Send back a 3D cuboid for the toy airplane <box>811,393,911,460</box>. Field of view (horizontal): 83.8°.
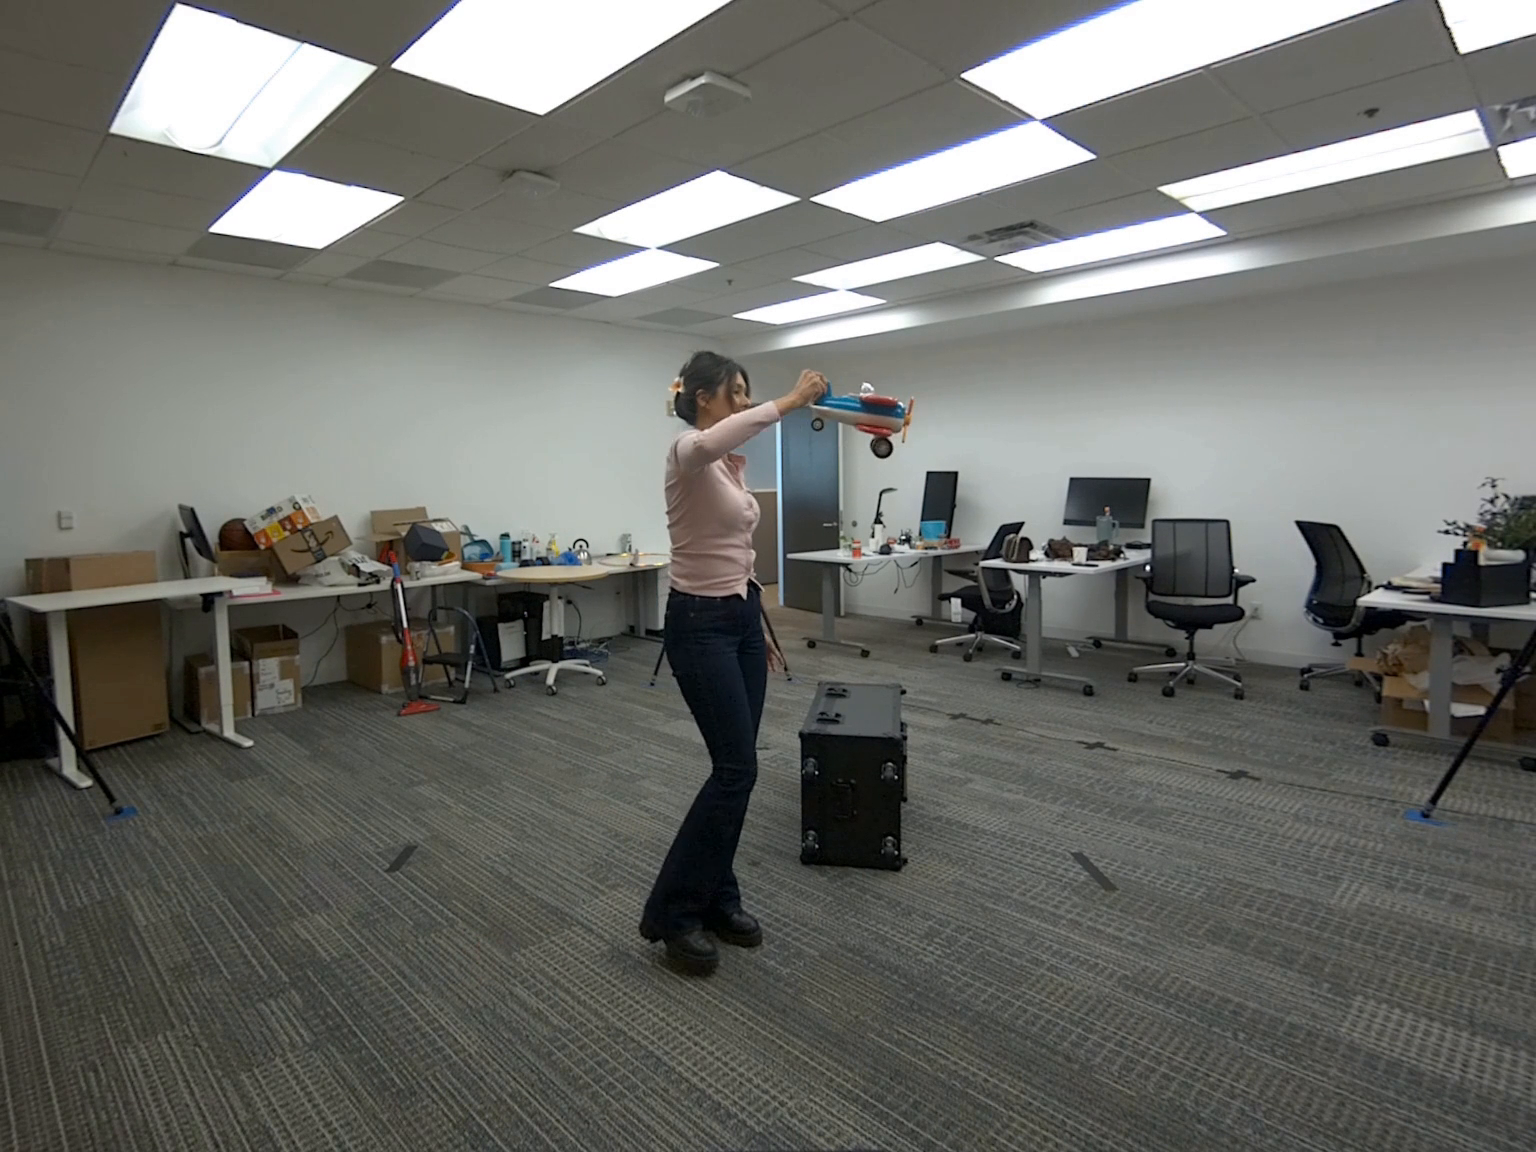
[{"bbox_3d":[0.237,-0.413,2.200,0.252,0.155,0.260,17,13,-29],"label":"toy airplane"}]
